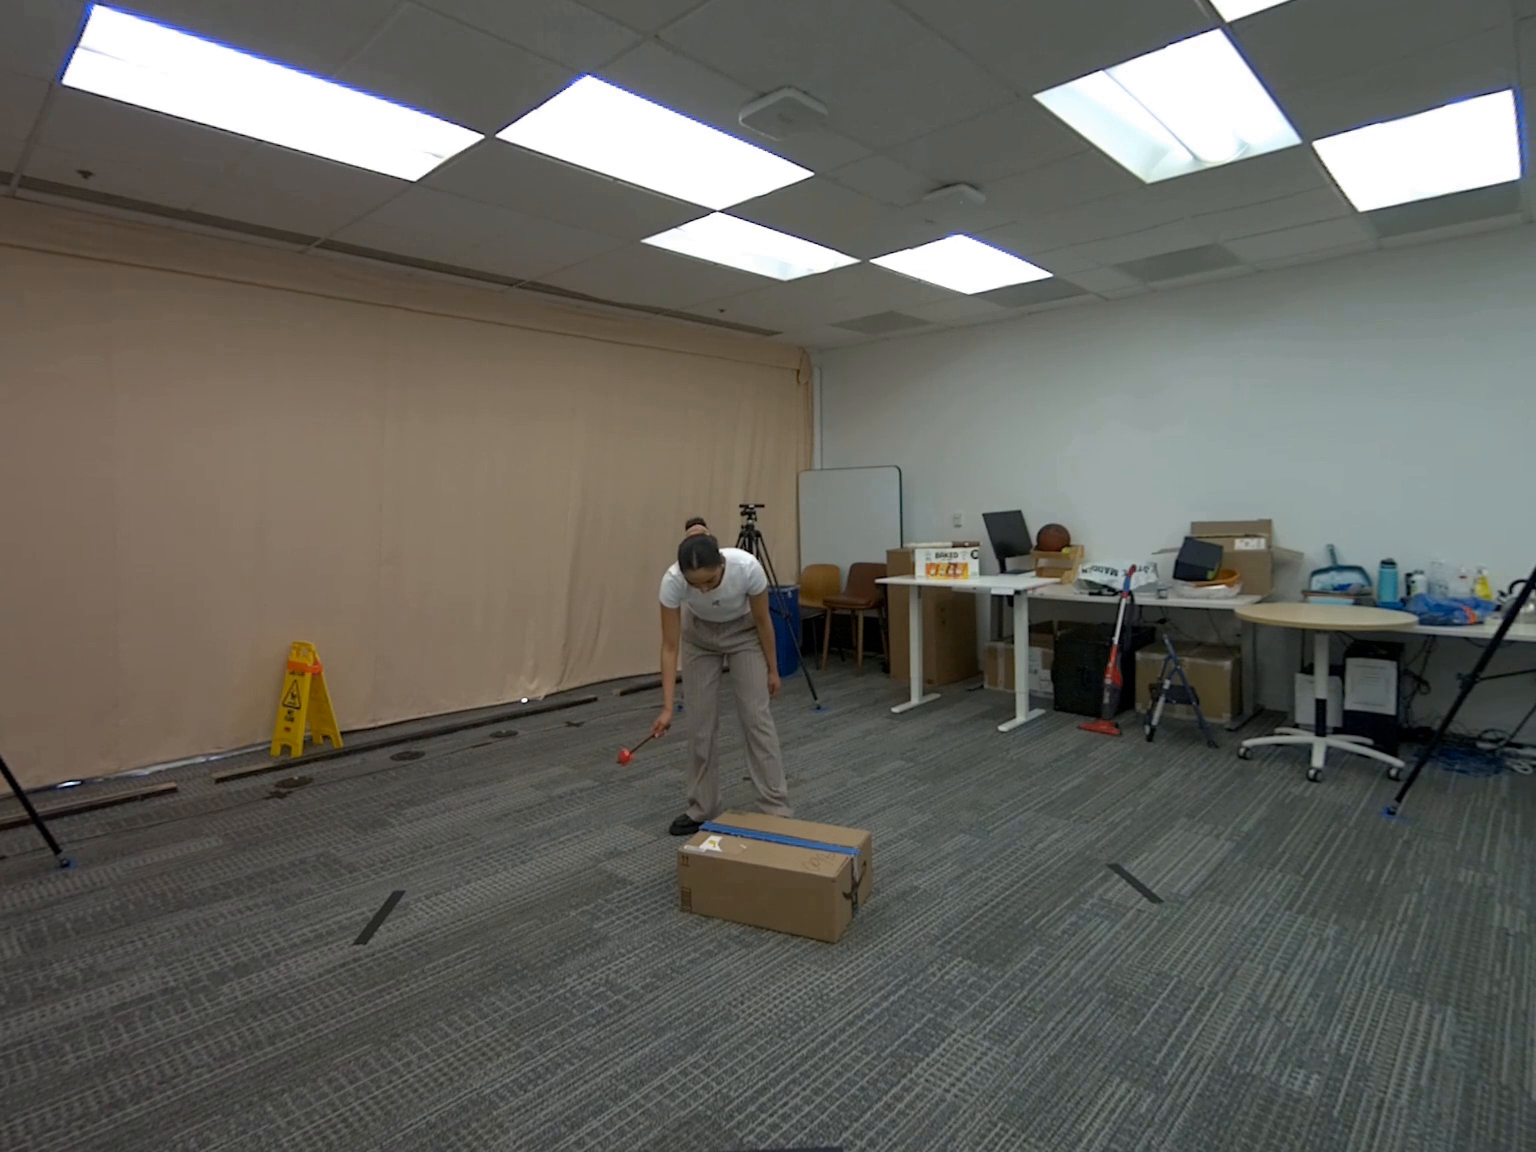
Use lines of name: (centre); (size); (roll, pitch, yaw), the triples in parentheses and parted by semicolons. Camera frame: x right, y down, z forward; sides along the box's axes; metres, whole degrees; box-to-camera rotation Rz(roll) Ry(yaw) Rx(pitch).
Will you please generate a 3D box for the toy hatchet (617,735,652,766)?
toy hatchet: (-0.511, 0.684, 3.398); (0.030, 0.130, 0.264); (39, 38, 26)
